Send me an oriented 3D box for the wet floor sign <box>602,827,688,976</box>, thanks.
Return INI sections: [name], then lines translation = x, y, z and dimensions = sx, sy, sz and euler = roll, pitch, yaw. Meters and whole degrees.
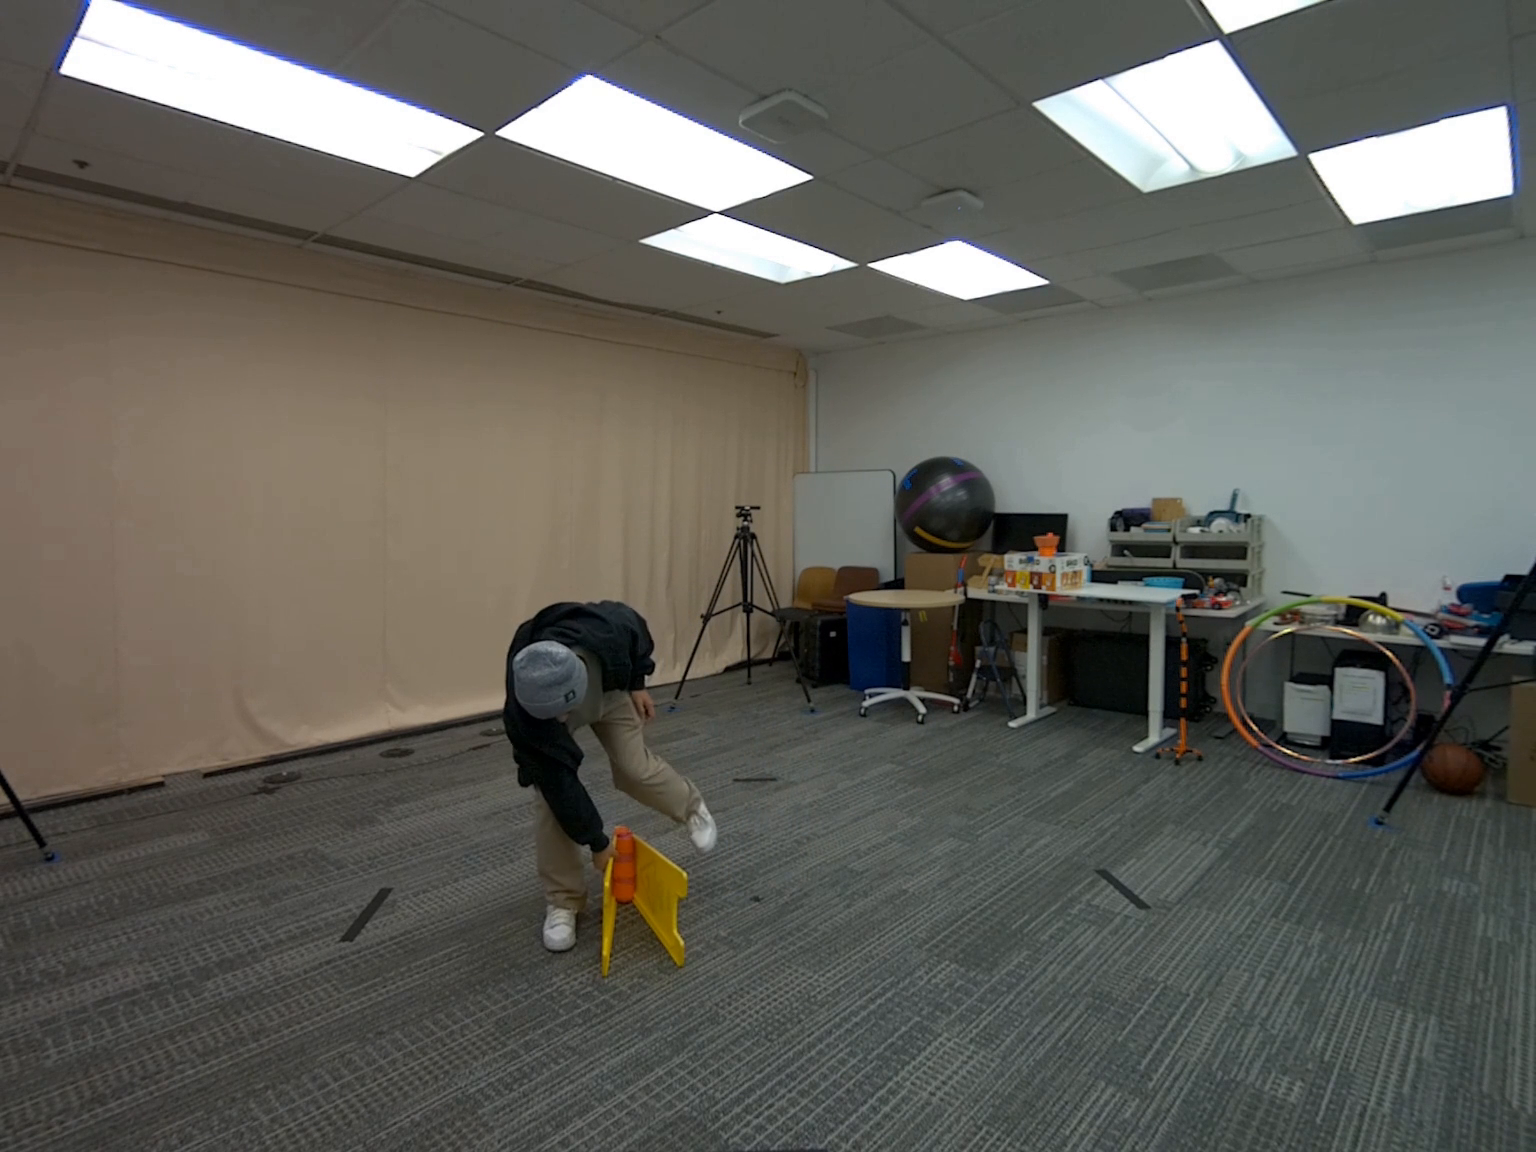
[wet floor sign]
translation = -0.471, 1.035, 2.822
dimensions = 0.285, 0.282, 0.656
euler = 0, 1, -16
